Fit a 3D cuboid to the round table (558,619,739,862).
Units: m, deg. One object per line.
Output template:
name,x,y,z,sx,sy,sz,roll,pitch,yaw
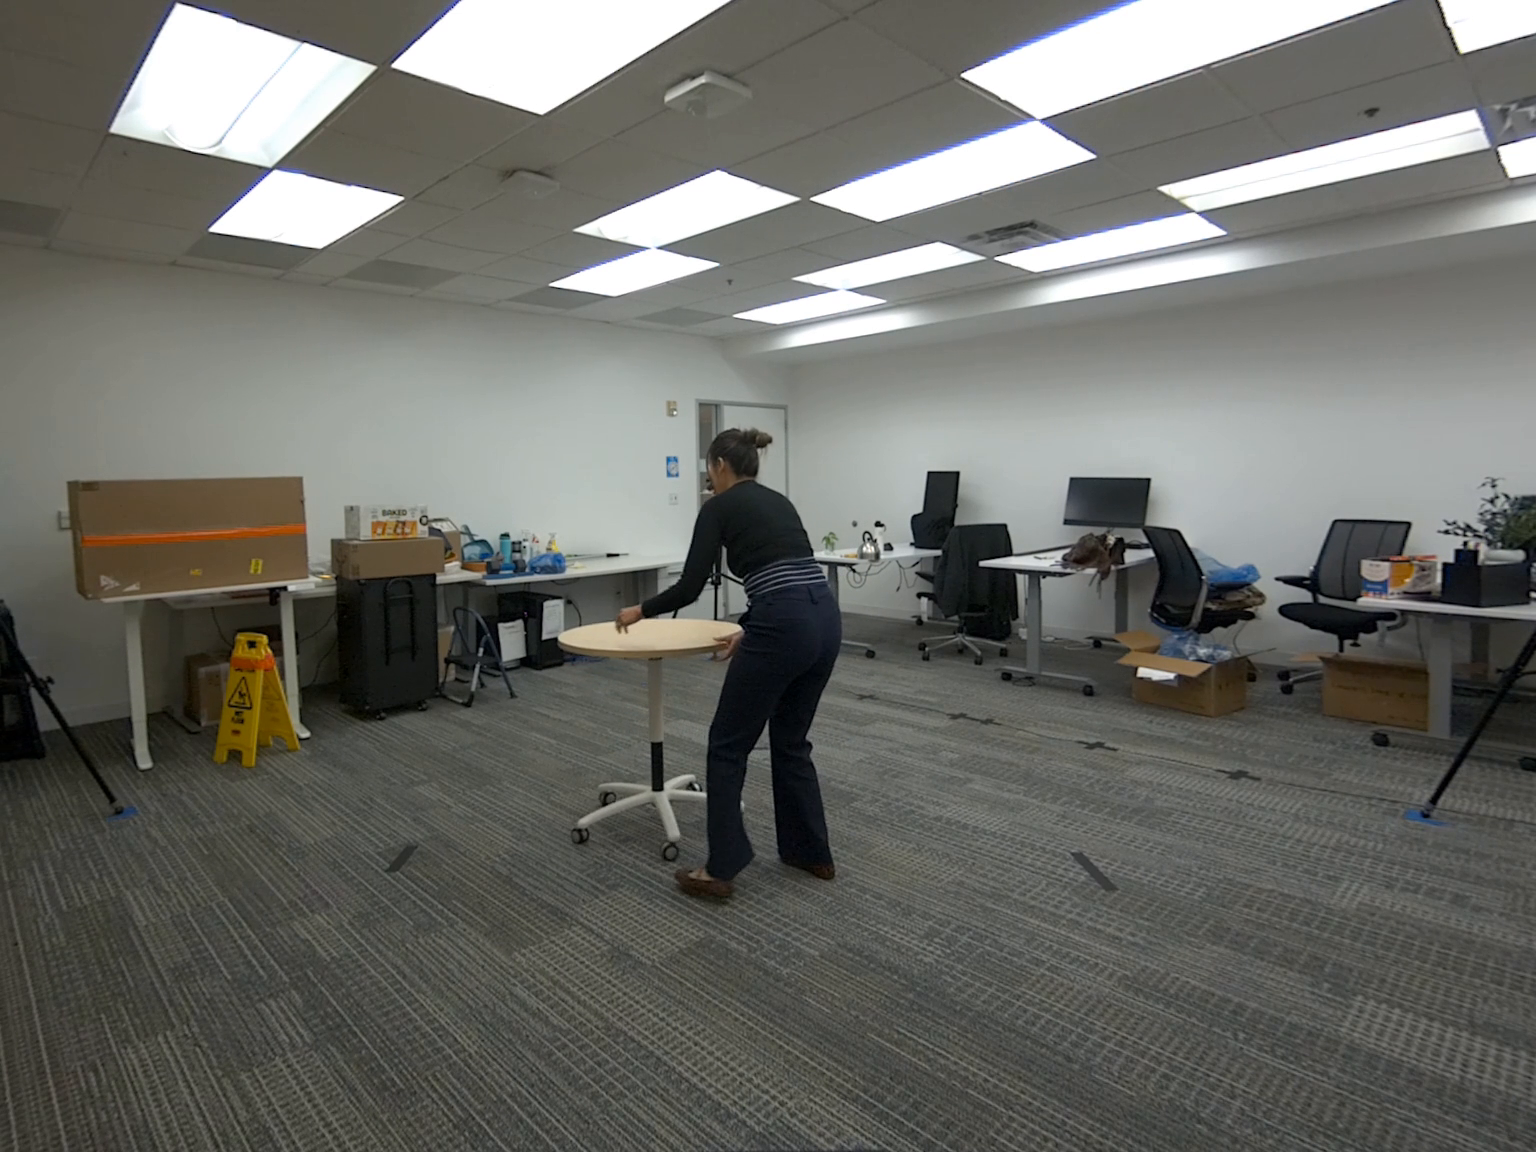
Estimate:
round table,-0.453,0.623,3.465,0.763,0.791,0.767,-1,4,-2
